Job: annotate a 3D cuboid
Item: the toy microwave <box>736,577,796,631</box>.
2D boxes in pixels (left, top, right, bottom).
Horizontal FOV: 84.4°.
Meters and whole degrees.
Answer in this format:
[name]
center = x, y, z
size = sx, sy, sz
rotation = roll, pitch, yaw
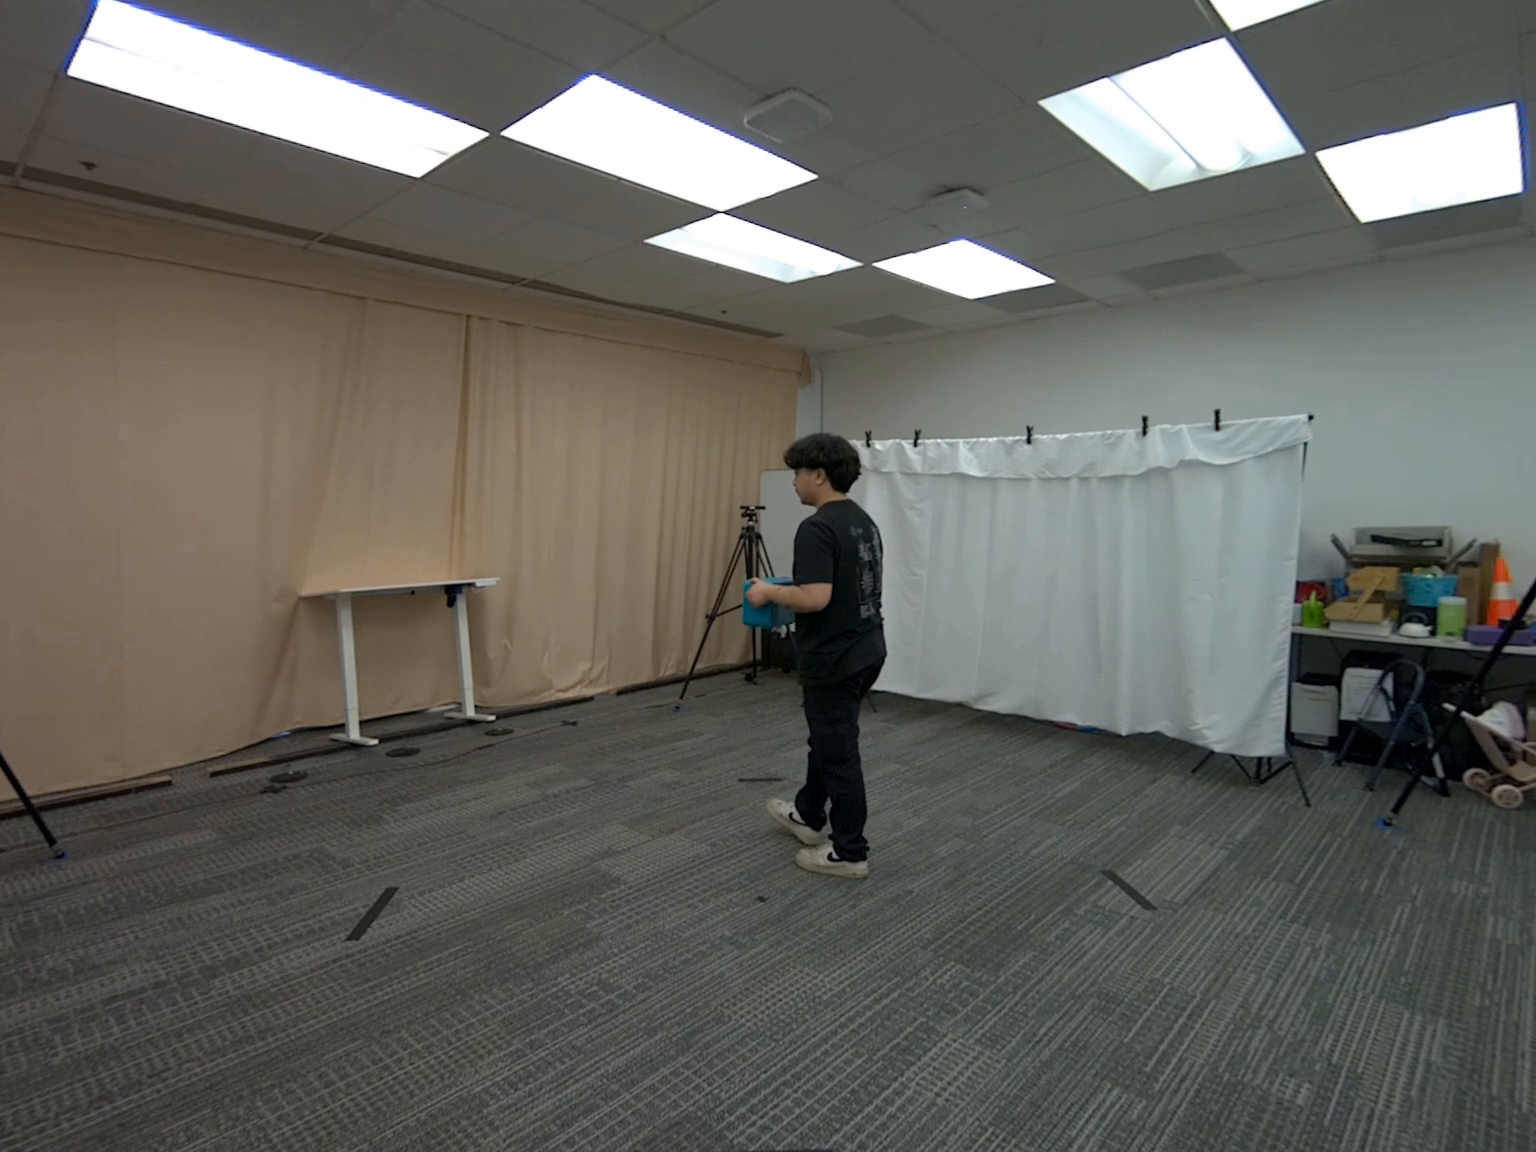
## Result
[toy microwave]
center = 0.013, 0.103, 3.352
size = 0.156, 0.184, 0.278
rotation = 3, 2, 27
